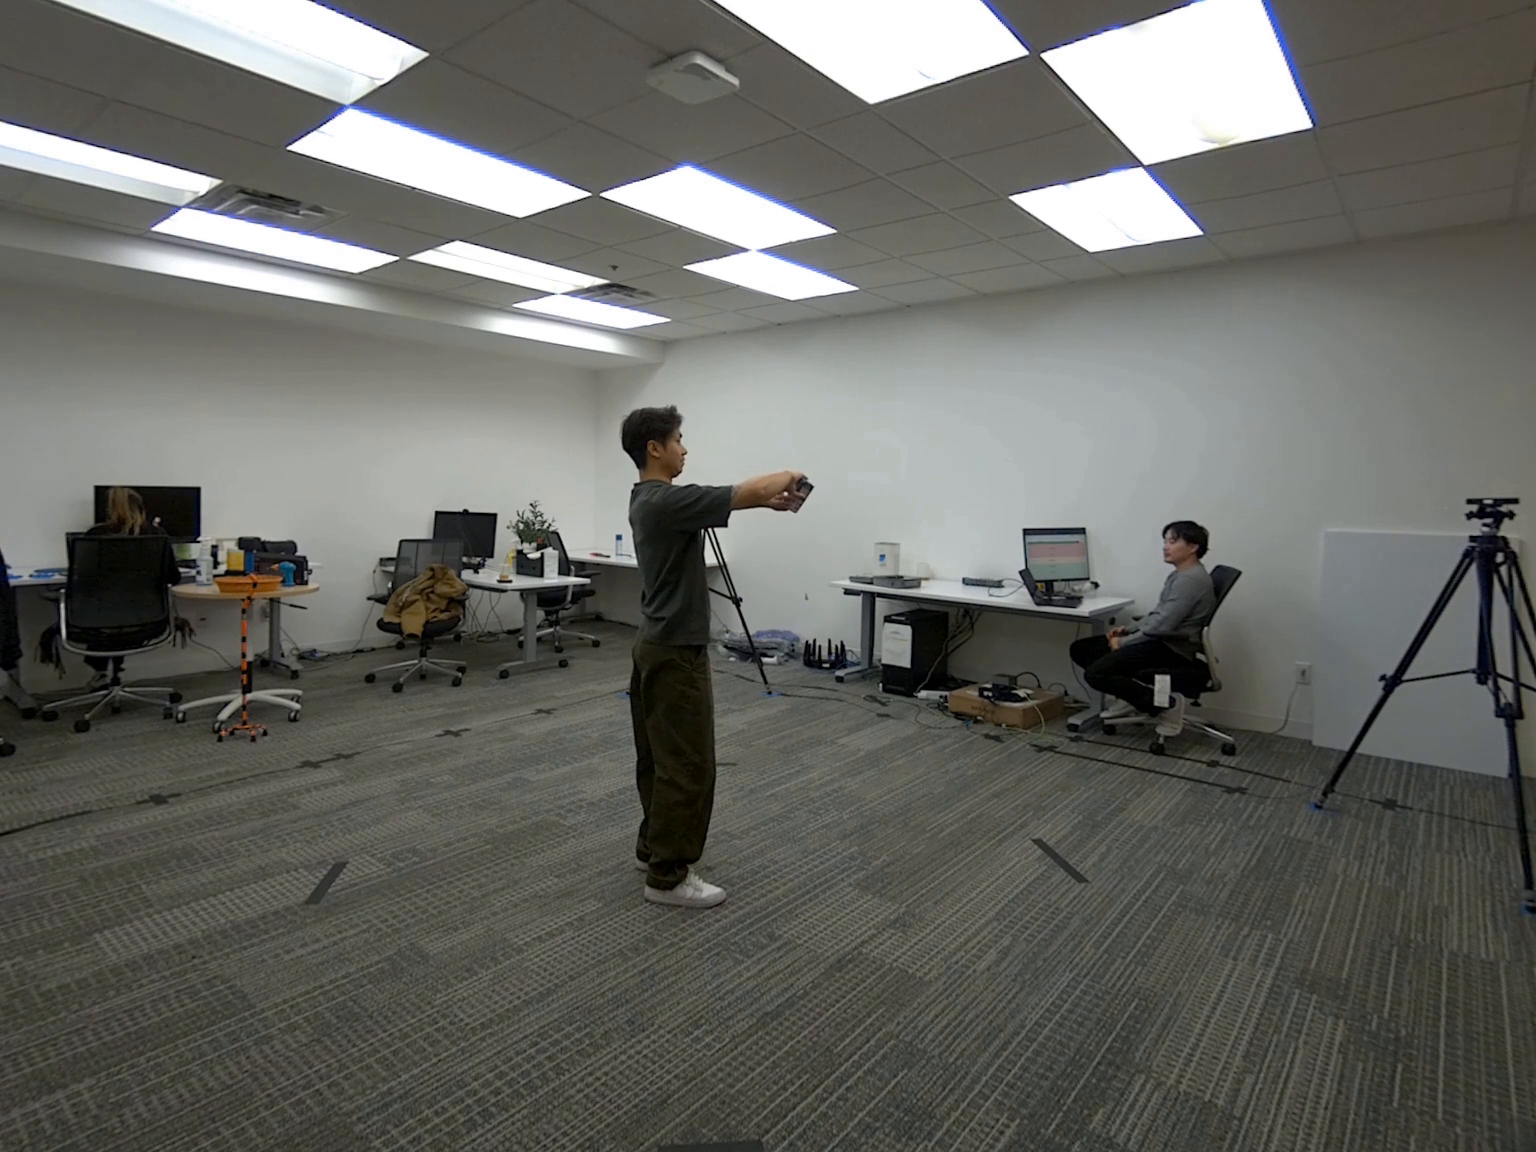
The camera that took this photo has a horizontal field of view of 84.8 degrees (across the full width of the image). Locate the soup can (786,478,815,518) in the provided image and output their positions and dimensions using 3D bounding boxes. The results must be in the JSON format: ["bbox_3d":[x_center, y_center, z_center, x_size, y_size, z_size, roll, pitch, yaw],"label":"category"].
[{"bbox_3d":[0.104,-0.288,3.036,0.066,0.121,0.068,28,13,-9],"label":"soup can"}]
